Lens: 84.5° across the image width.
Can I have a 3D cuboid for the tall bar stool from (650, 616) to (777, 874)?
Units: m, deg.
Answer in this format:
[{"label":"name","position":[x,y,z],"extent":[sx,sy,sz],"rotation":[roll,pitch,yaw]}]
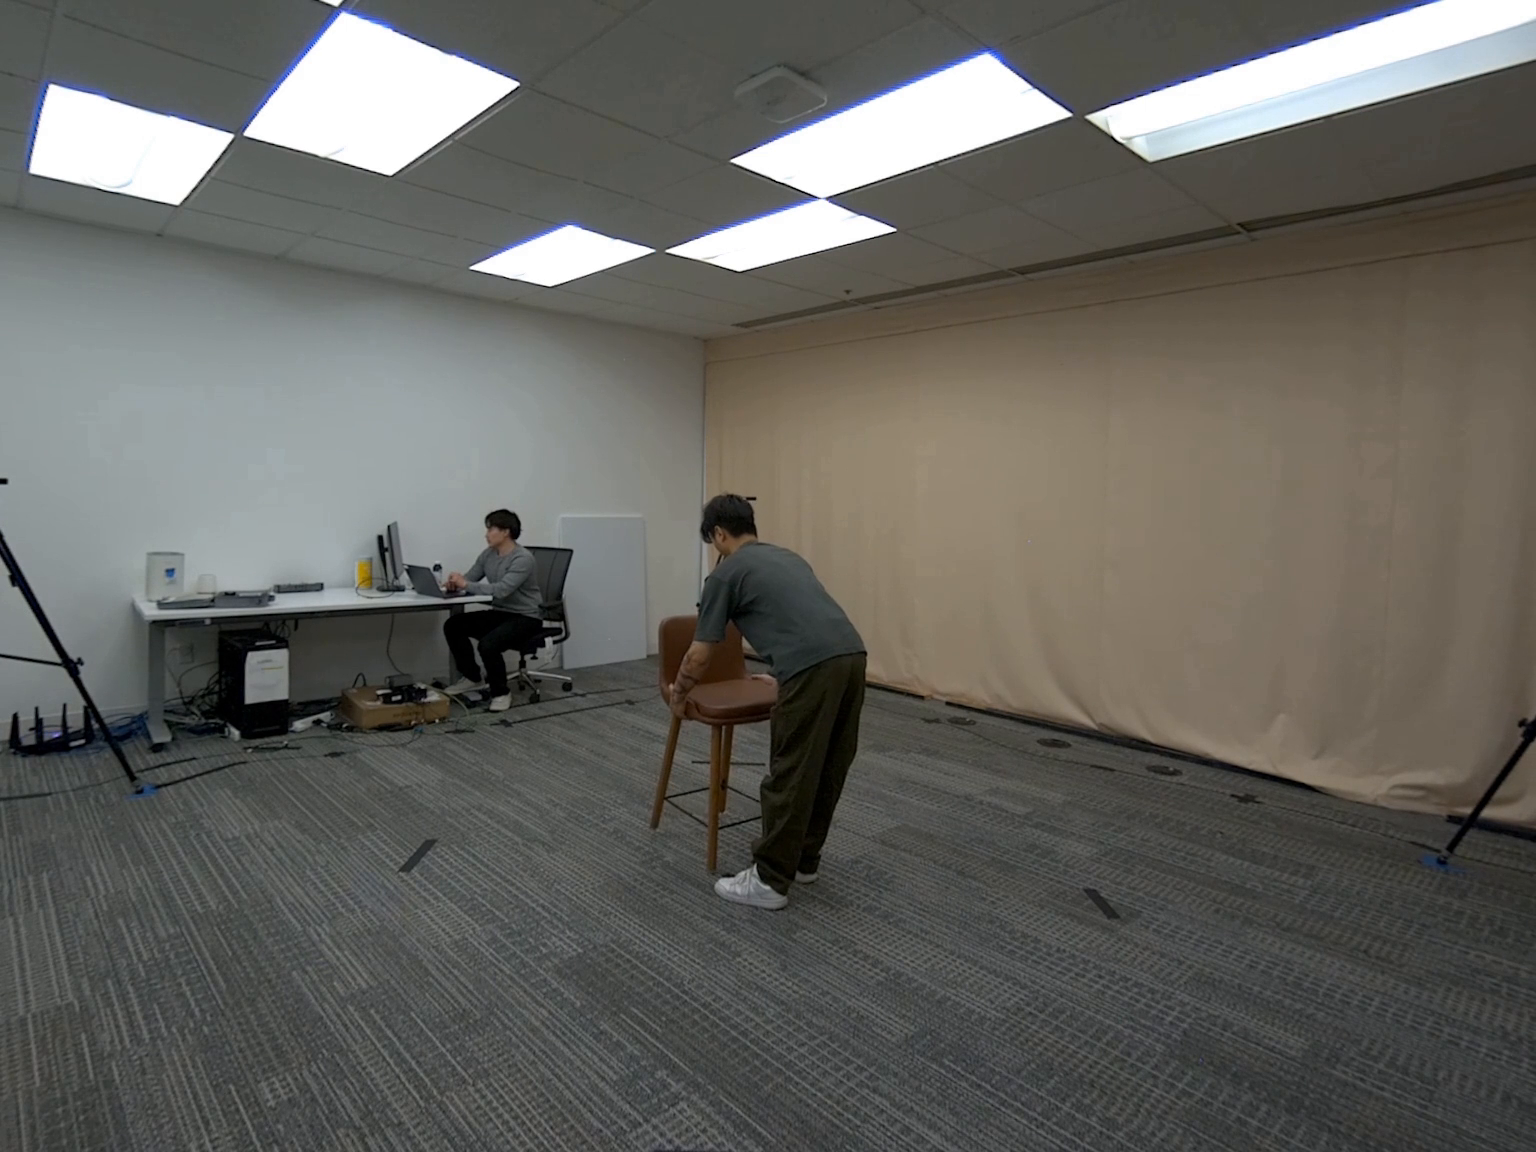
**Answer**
[{"label":"tall bar stool","position":[-0.184,0.624,3.369],"extent":[0.446,0.888,0.479],"rotation":[0,4,-38]}]
